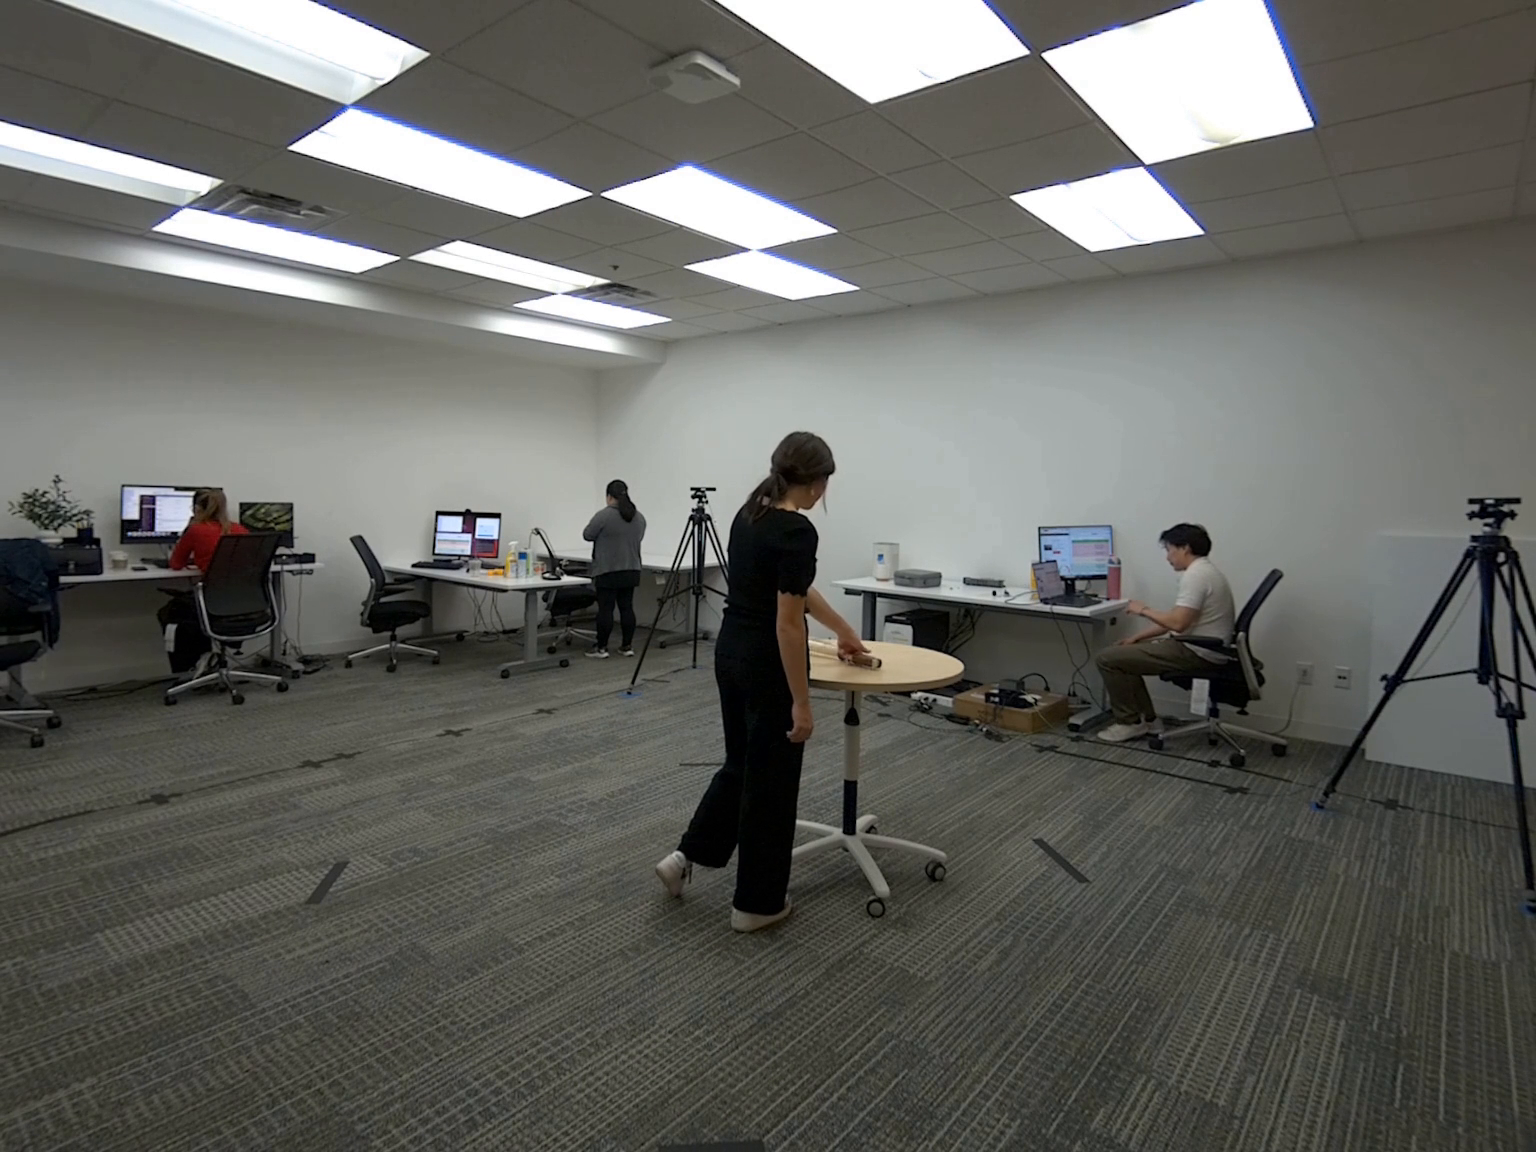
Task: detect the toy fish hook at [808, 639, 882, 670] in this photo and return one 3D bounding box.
[{"bbox_3d":[0.265,0.264,3.128,0.219,0.048,0.522,-7,10,-29],"label":"toy fish hook"}]
